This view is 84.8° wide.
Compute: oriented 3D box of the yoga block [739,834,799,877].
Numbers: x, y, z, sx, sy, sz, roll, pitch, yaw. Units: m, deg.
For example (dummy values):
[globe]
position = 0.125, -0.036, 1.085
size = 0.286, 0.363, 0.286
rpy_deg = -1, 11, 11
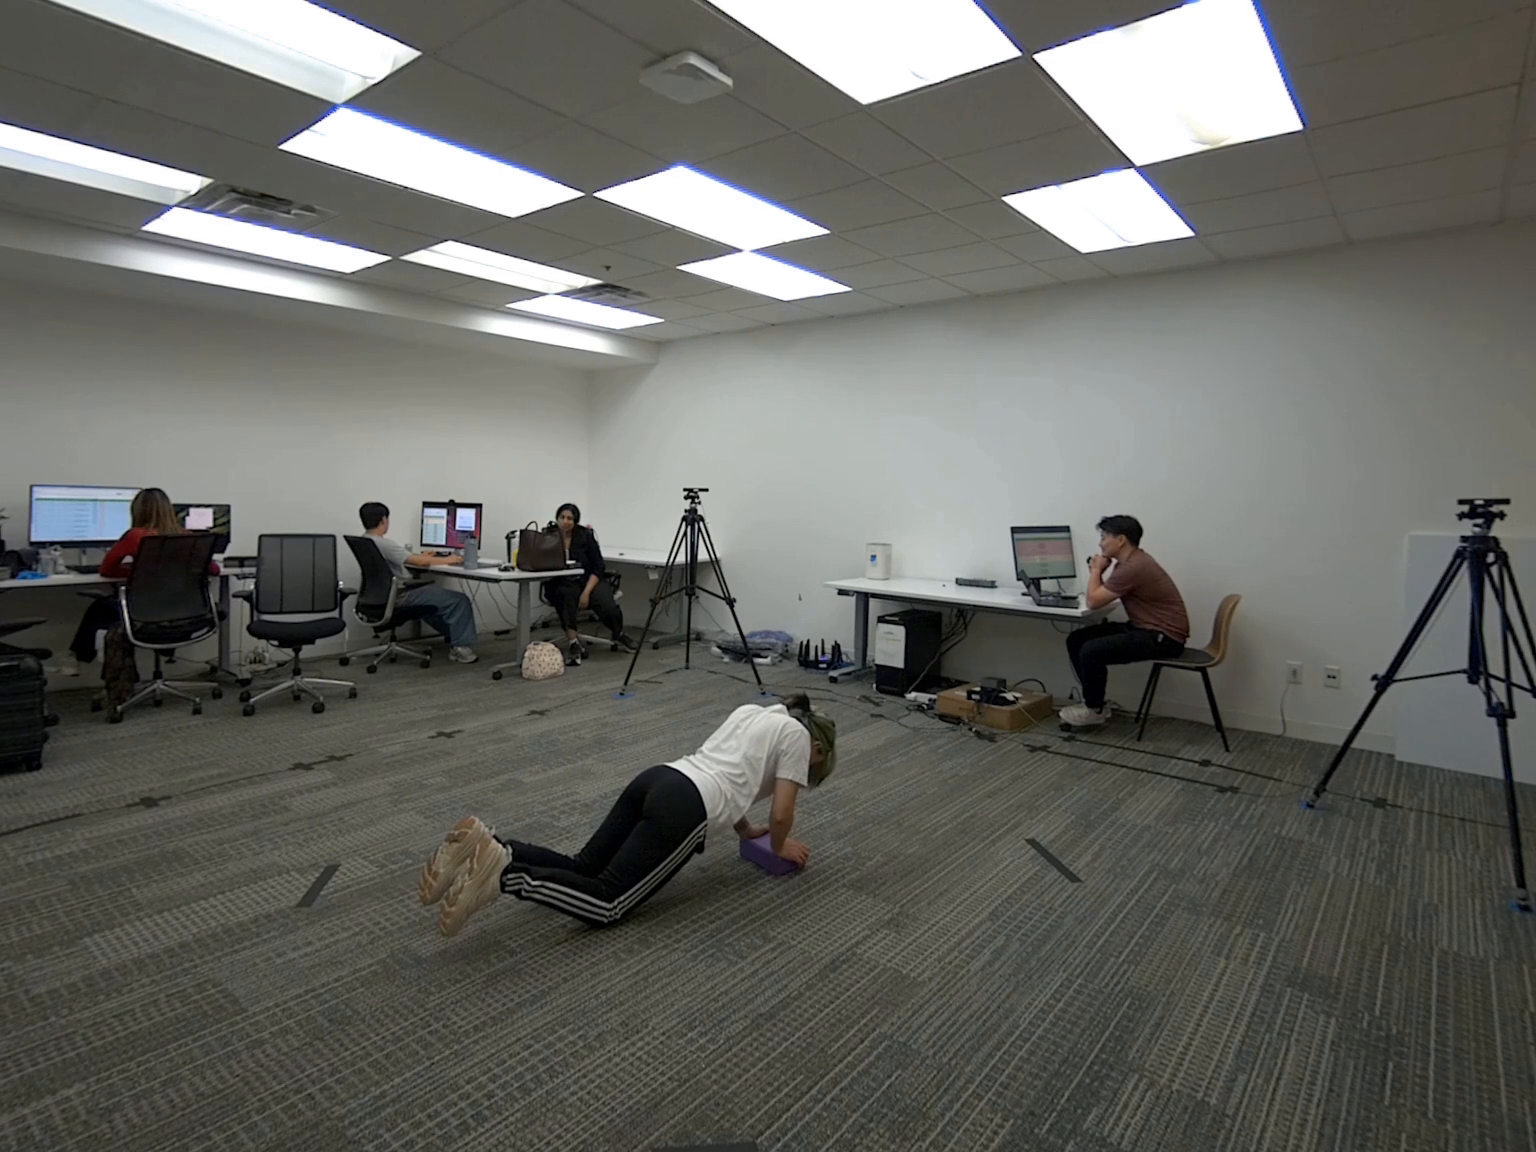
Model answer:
[yoga block]
position = 0.006, 1.031, 3.191
size = 0.144, 0.076, 0.237
rpy_deg = 1, 5, -38
